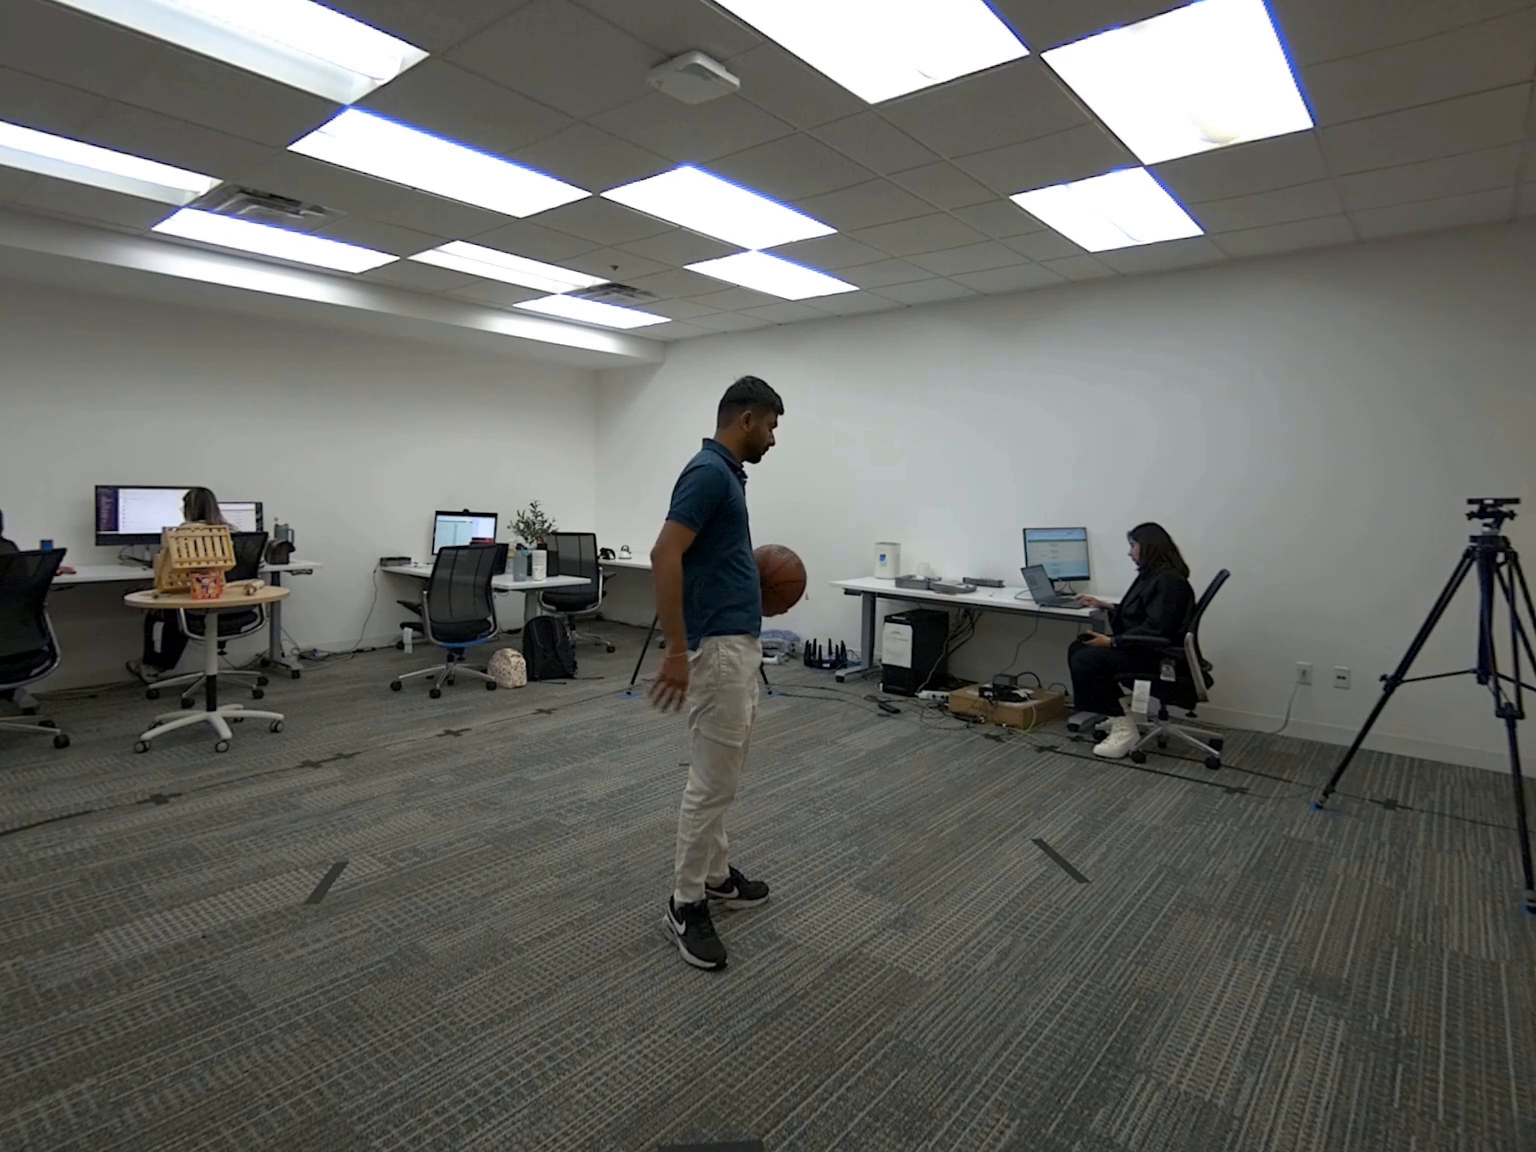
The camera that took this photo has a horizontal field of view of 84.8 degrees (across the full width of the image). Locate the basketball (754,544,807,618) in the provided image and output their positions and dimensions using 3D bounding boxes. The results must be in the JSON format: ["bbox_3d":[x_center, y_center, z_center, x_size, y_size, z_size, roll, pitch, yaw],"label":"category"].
[{"bbox_3d":[0.004,0.008,2.938,0.235,0.235,0.237,1,4,-2],"label":"basketball"}]
